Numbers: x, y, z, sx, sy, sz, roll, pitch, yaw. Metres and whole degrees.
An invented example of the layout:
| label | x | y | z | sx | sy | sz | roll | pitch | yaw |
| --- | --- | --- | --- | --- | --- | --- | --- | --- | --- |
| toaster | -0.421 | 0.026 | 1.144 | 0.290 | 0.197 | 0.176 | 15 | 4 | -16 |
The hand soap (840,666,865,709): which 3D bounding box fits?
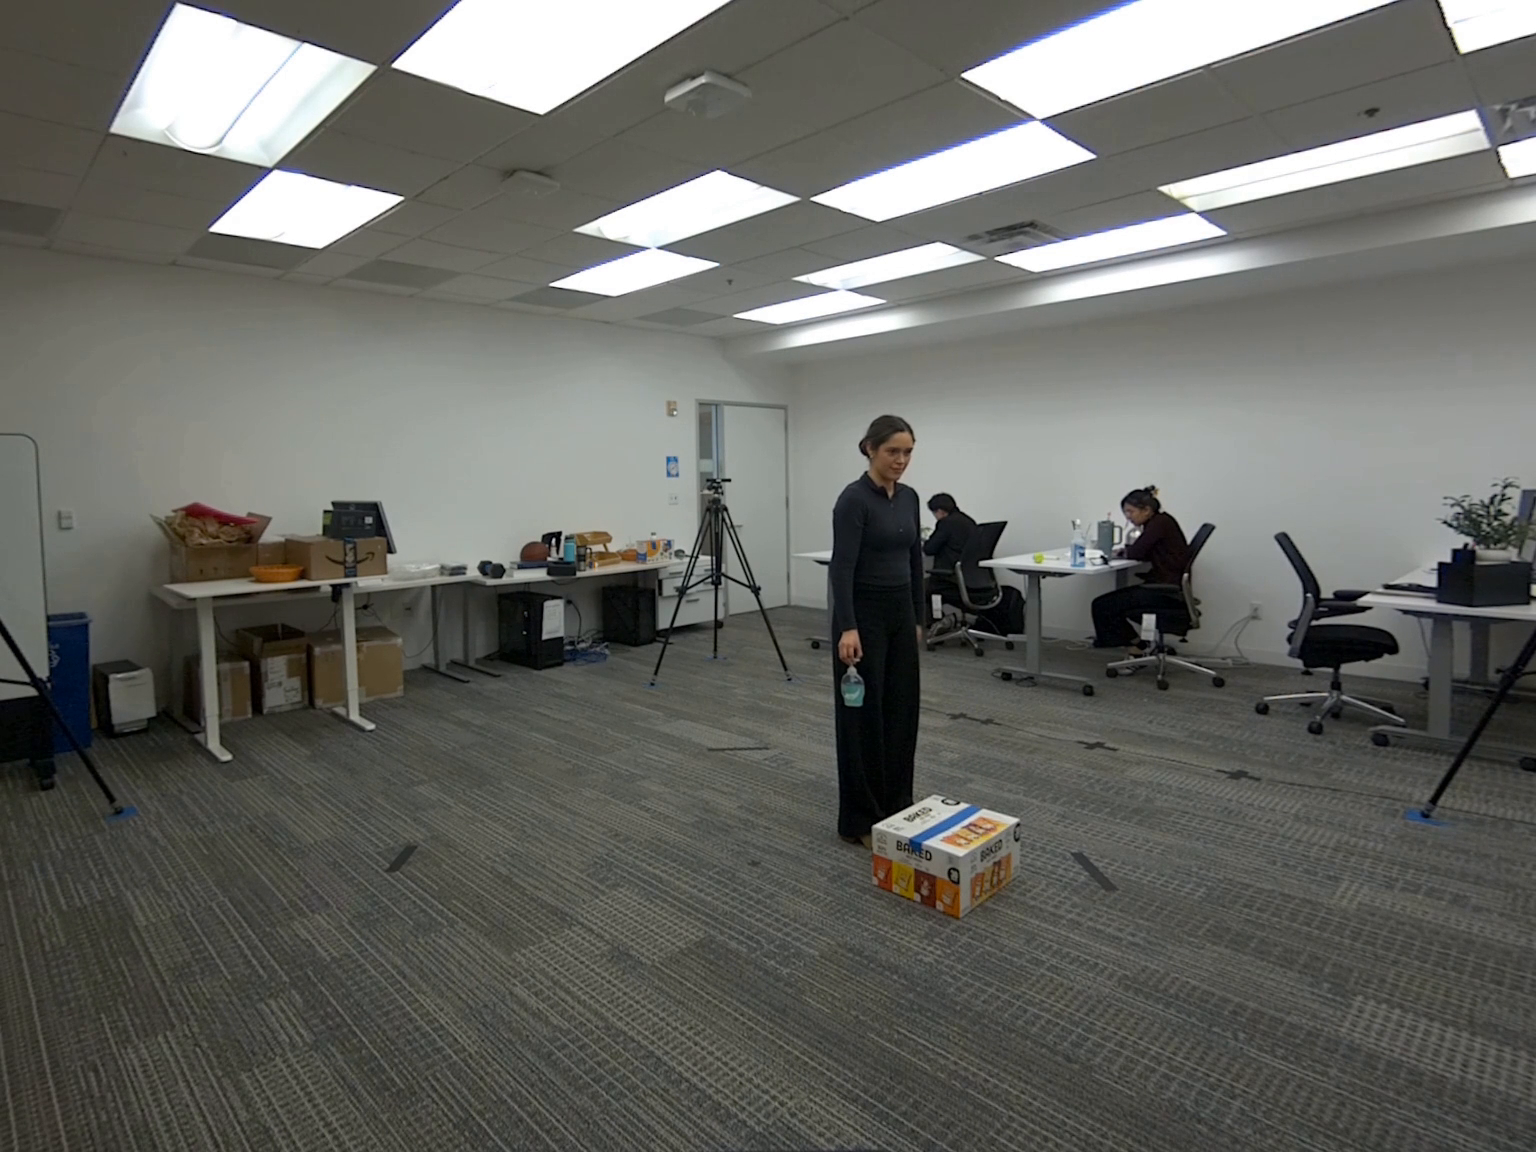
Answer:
| label | x | y | z | sx | sy | sz | roll | pitch | yaw |
| --- | --- | --- | --- | --- | --- | --- | --- | --- | --- |
| hand soap | 0.305 | 0.381 | 3.057 | 0.087 | 0.168 | 0.042 | -1 | 2 | 33 |
